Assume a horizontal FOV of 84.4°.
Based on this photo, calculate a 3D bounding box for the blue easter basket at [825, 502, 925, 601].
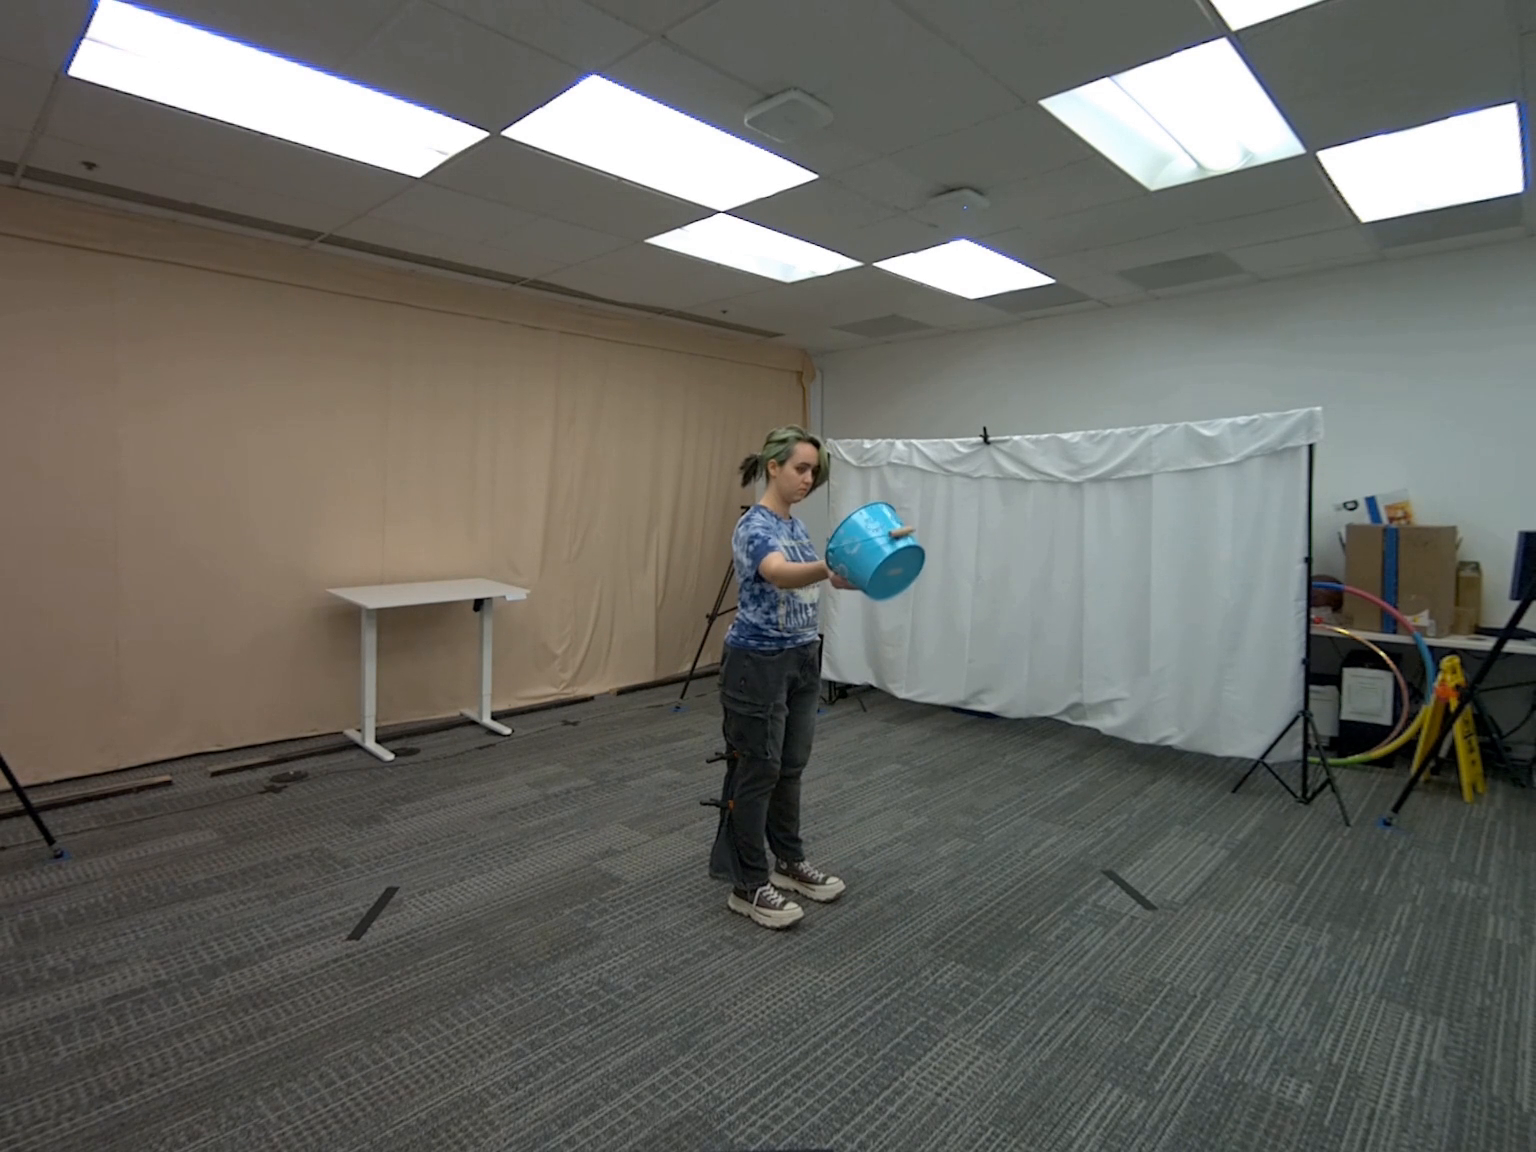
[{"bbox_3d":[0.281,-0.044,2.160,0.236,0.242,0.161,-3,39,-37],"label":"blue easter basket"}]
